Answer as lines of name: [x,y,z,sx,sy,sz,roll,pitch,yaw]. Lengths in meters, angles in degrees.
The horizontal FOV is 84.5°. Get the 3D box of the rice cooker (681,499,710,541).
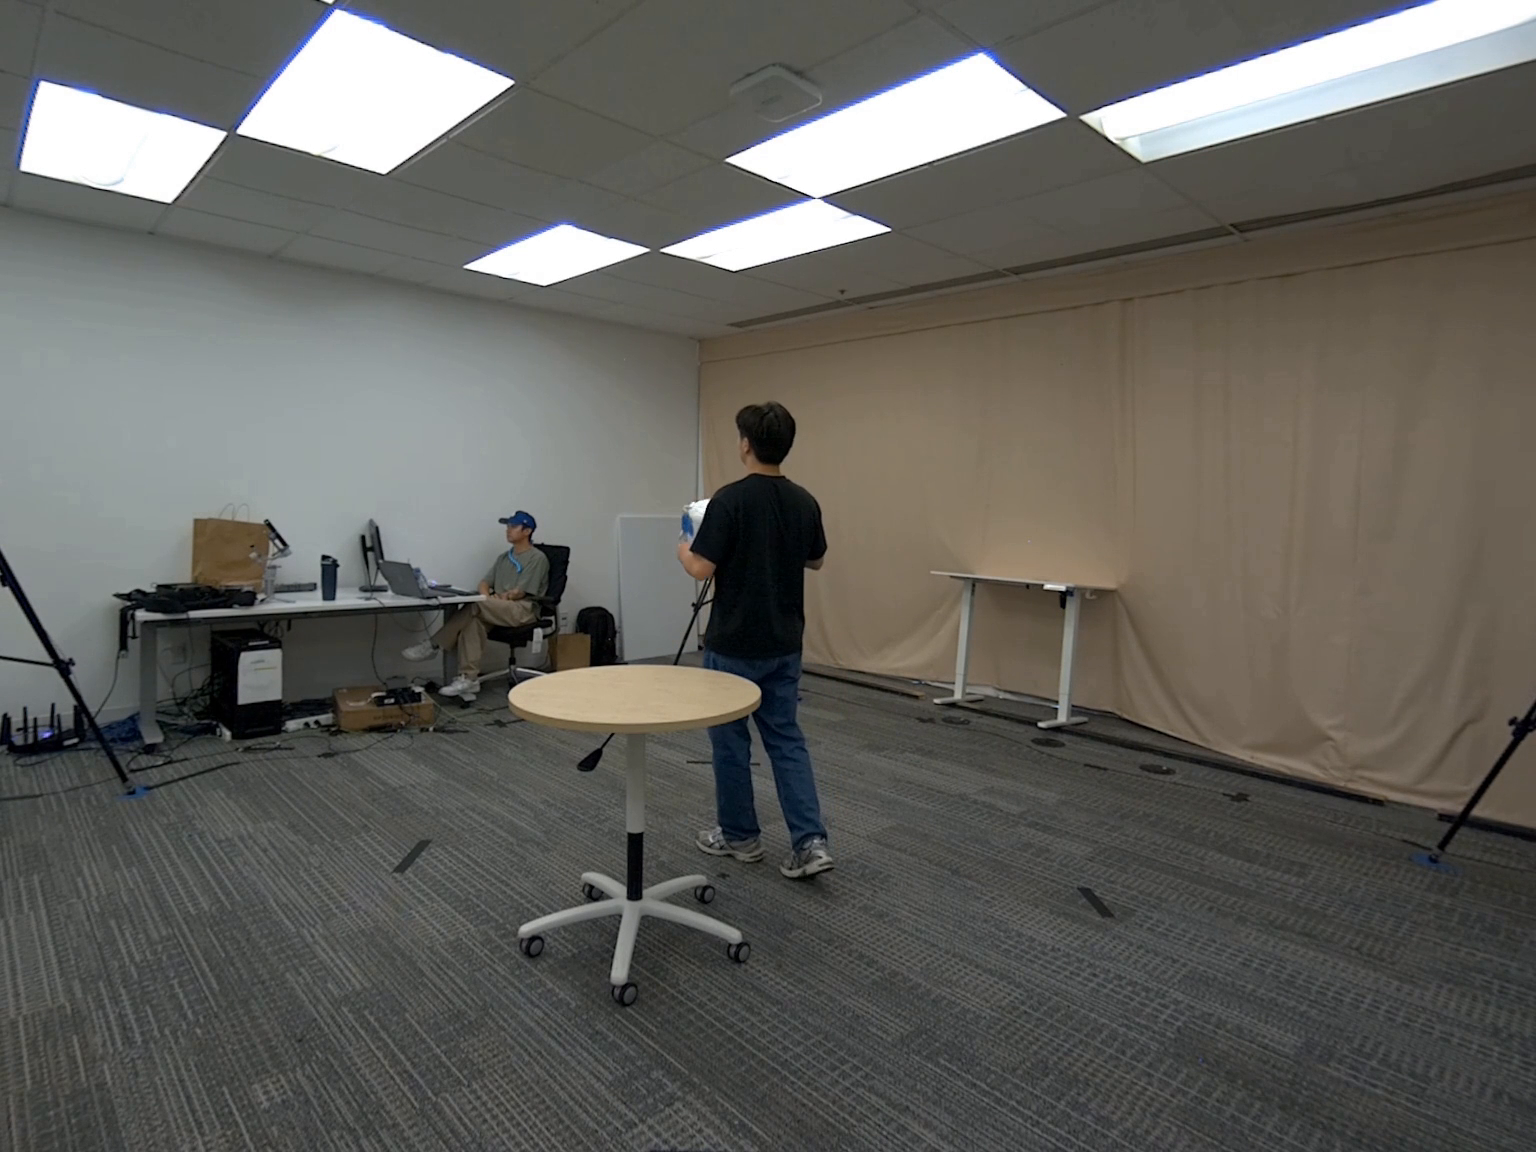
rice cooker: [-0.216,-0.171,3.401,0.217,0.229,0.224,-17,32,-33]
